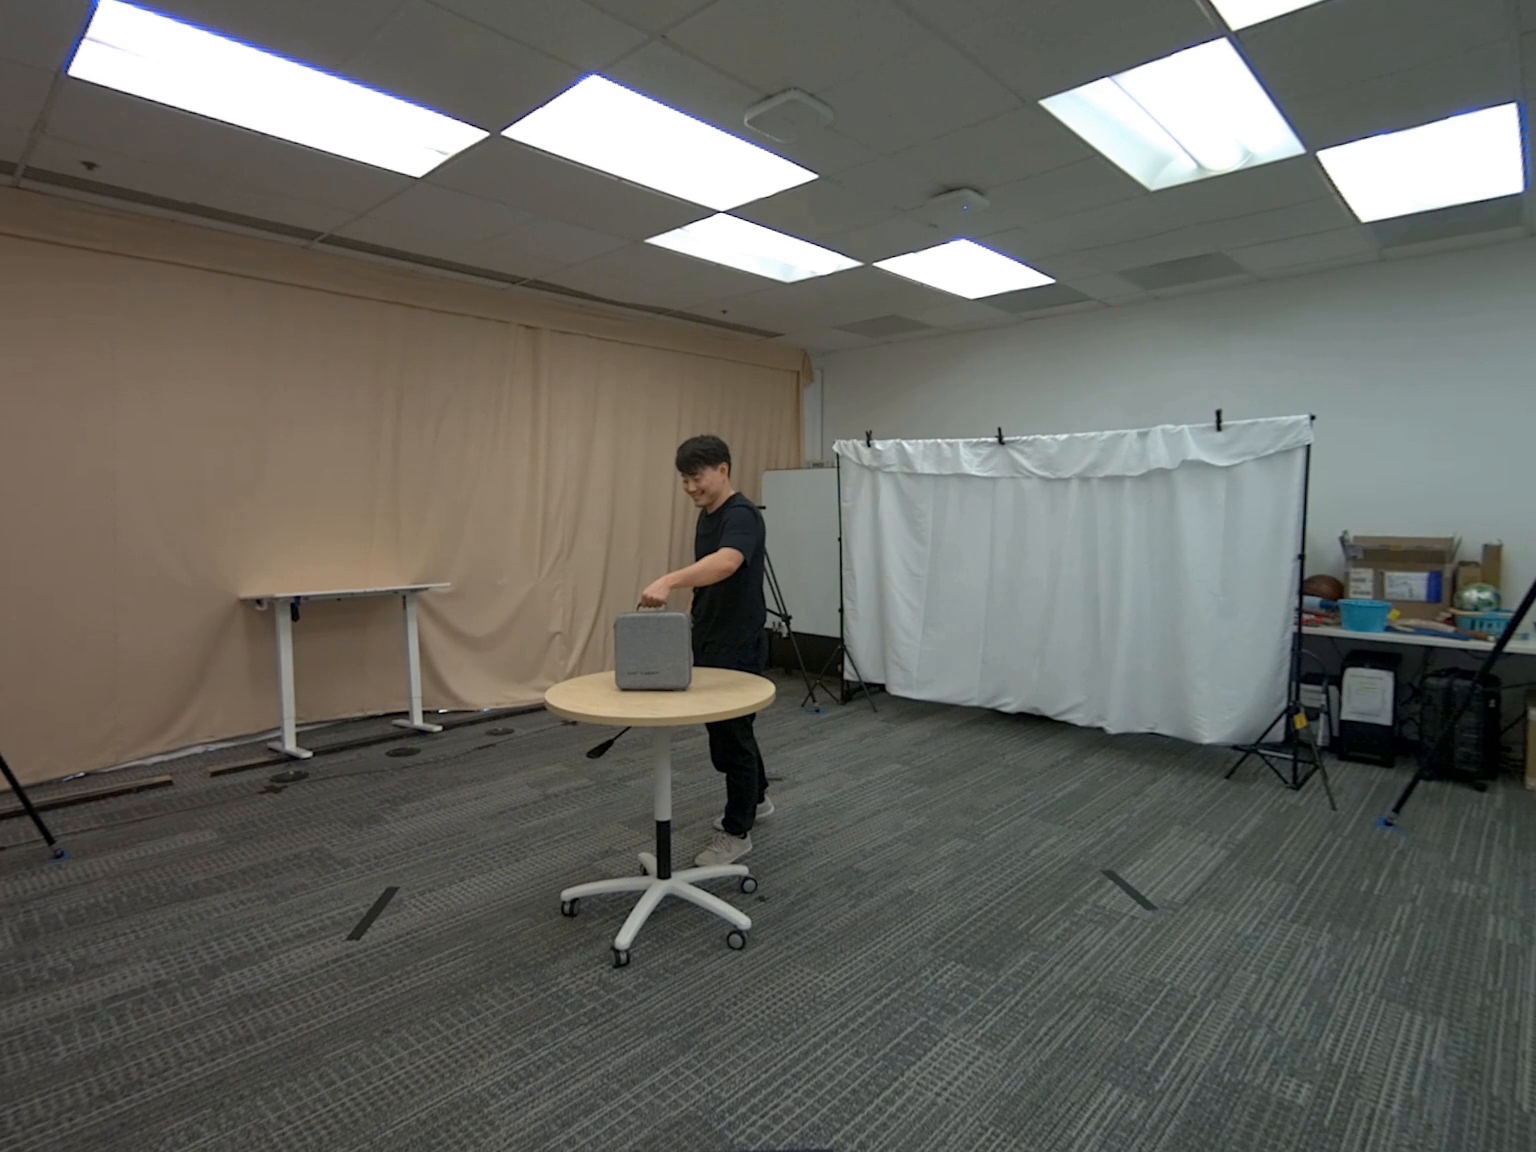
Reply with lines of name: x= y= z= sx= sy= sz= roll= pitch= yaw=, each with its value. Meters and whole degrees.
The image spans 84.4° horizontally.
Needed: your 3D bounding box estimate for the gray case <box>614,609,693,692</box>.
gray case: x=-0.385 y=0.243 z=2.816 sx=0.258 sy=0.261 sz=0.103 roll=0 pitch=-4 yaw=6
